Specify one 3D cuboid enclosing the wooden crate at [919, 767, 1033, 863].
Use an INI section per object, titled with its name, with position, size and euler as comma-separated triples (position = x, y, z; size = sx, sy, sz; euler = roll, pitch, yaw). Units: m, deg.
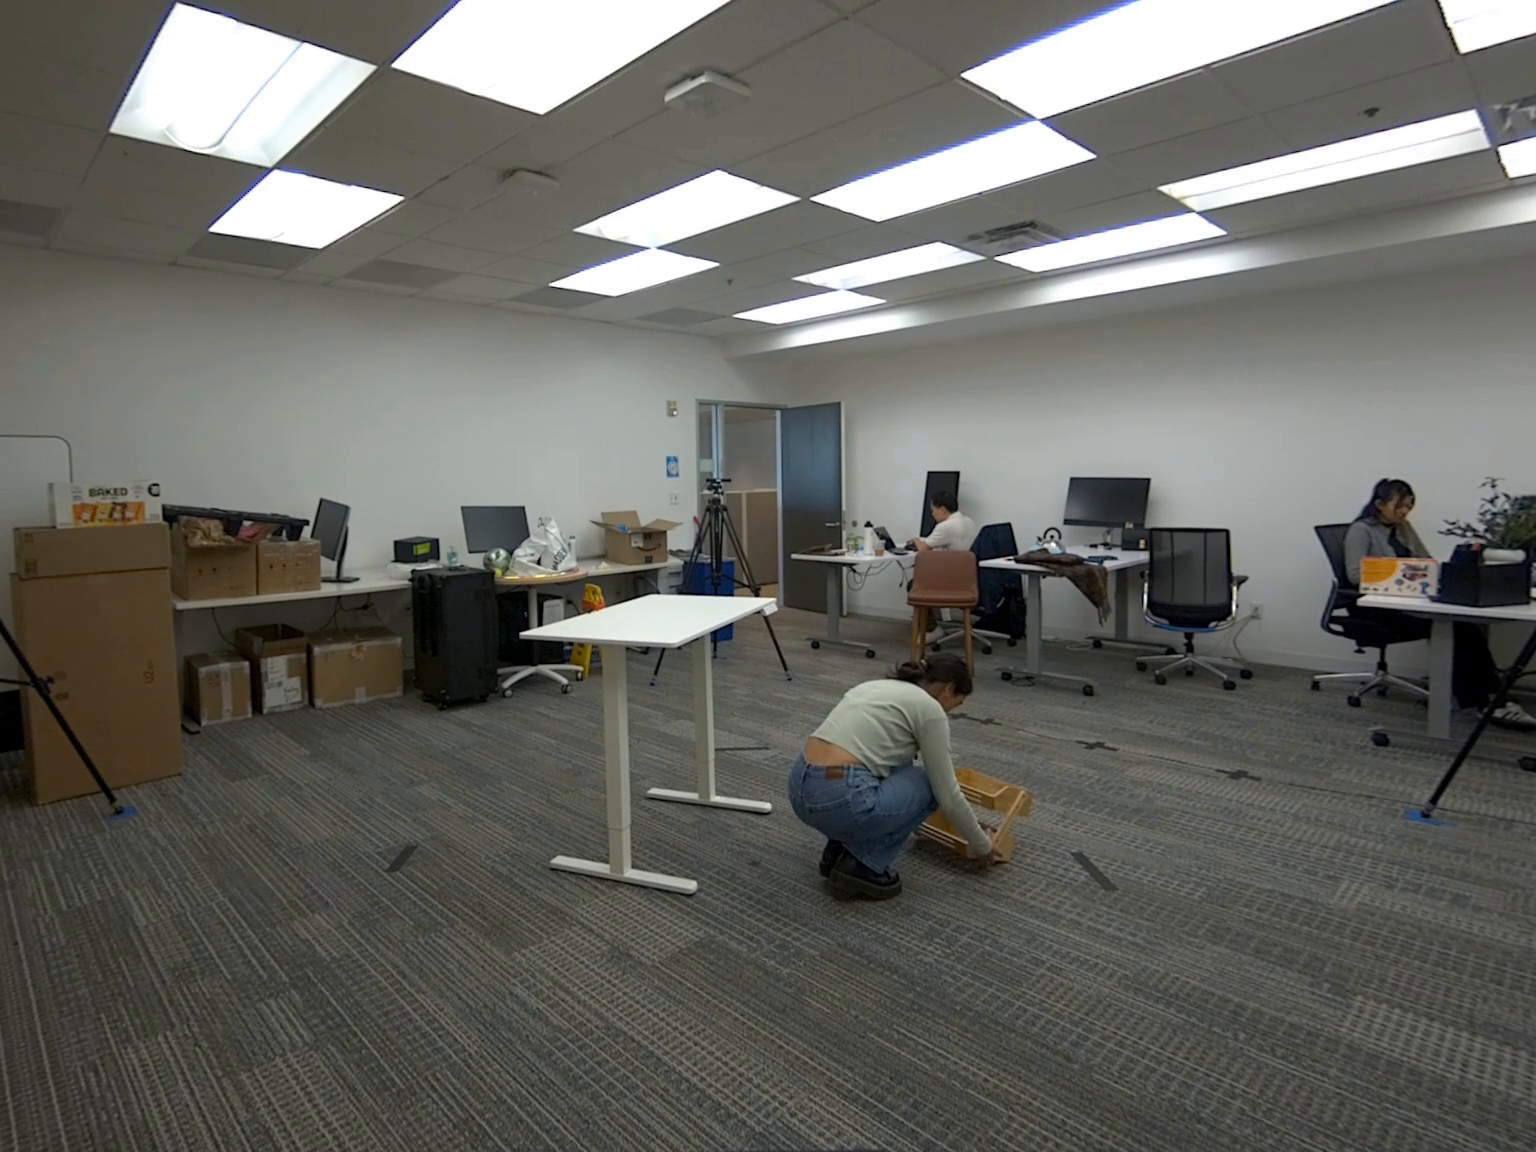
[wooden crate]
position = 0.745, 0.862, 3.177
size = 0.292, 0.274, 0.334
euler = 18, -7, -33
